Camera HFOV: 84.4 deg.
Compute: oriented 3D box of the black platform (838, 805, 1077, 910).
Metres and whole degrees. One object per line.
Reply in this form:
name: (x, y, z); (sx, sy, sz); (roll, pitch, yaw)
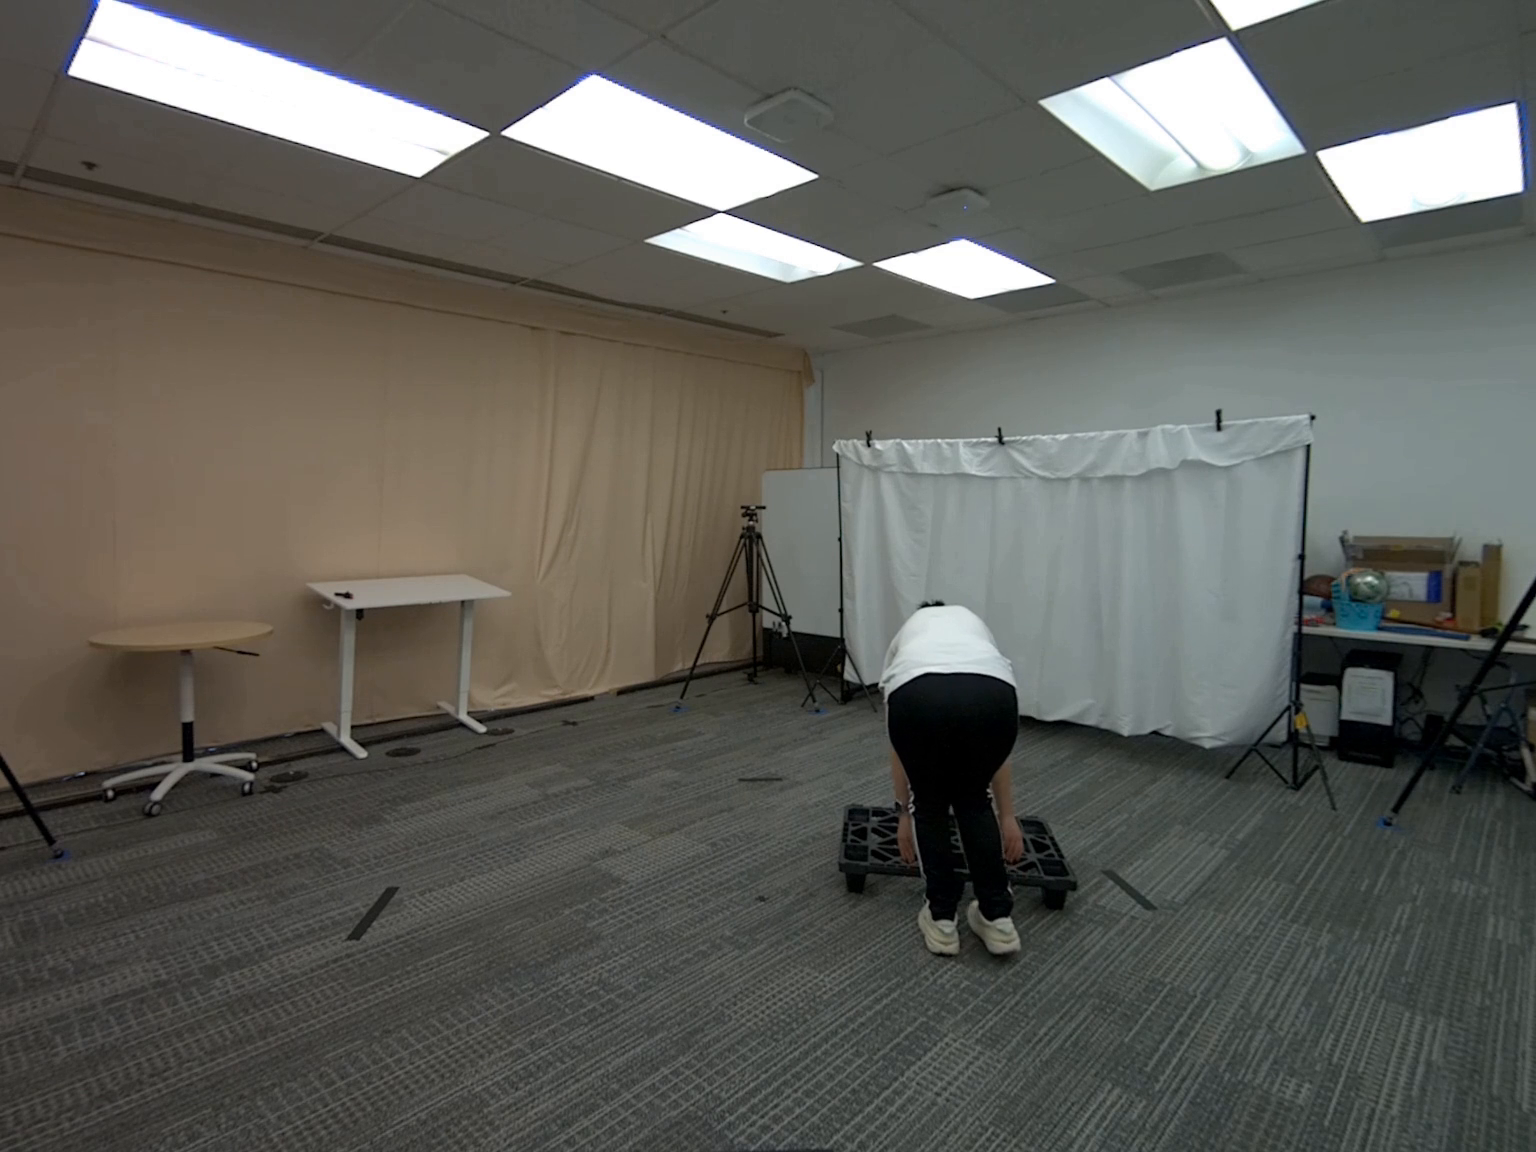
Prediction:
black platform: (0.680, 1.054, 3.186); (0.815, 0.143, 0.599); (1, 4, 10)
